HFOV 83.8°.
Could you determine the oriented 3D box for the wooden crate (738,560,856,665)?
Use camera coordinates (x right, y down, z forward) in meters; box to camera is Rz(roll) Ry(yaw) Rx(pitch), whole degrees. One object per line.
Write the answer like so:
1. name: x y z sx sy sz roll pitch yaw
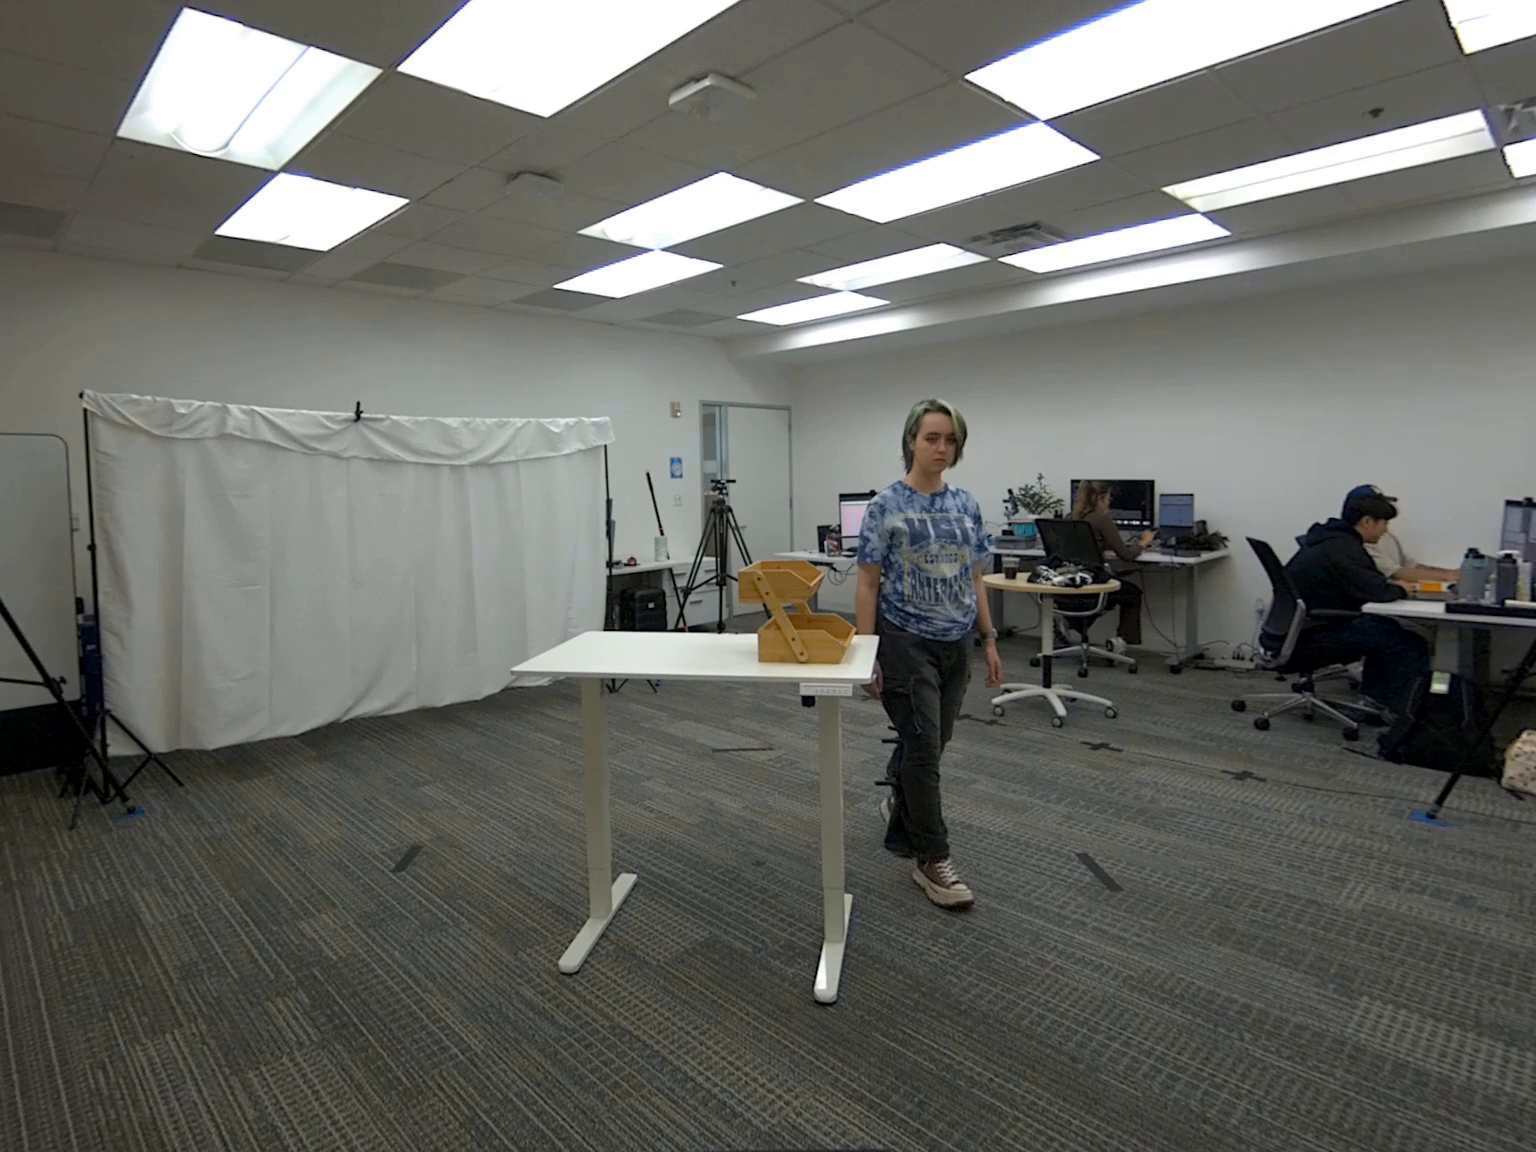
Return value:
1. wooden crate: 0.104 0.094 2.515 0.306 0.272 0.322 -2 5 12
